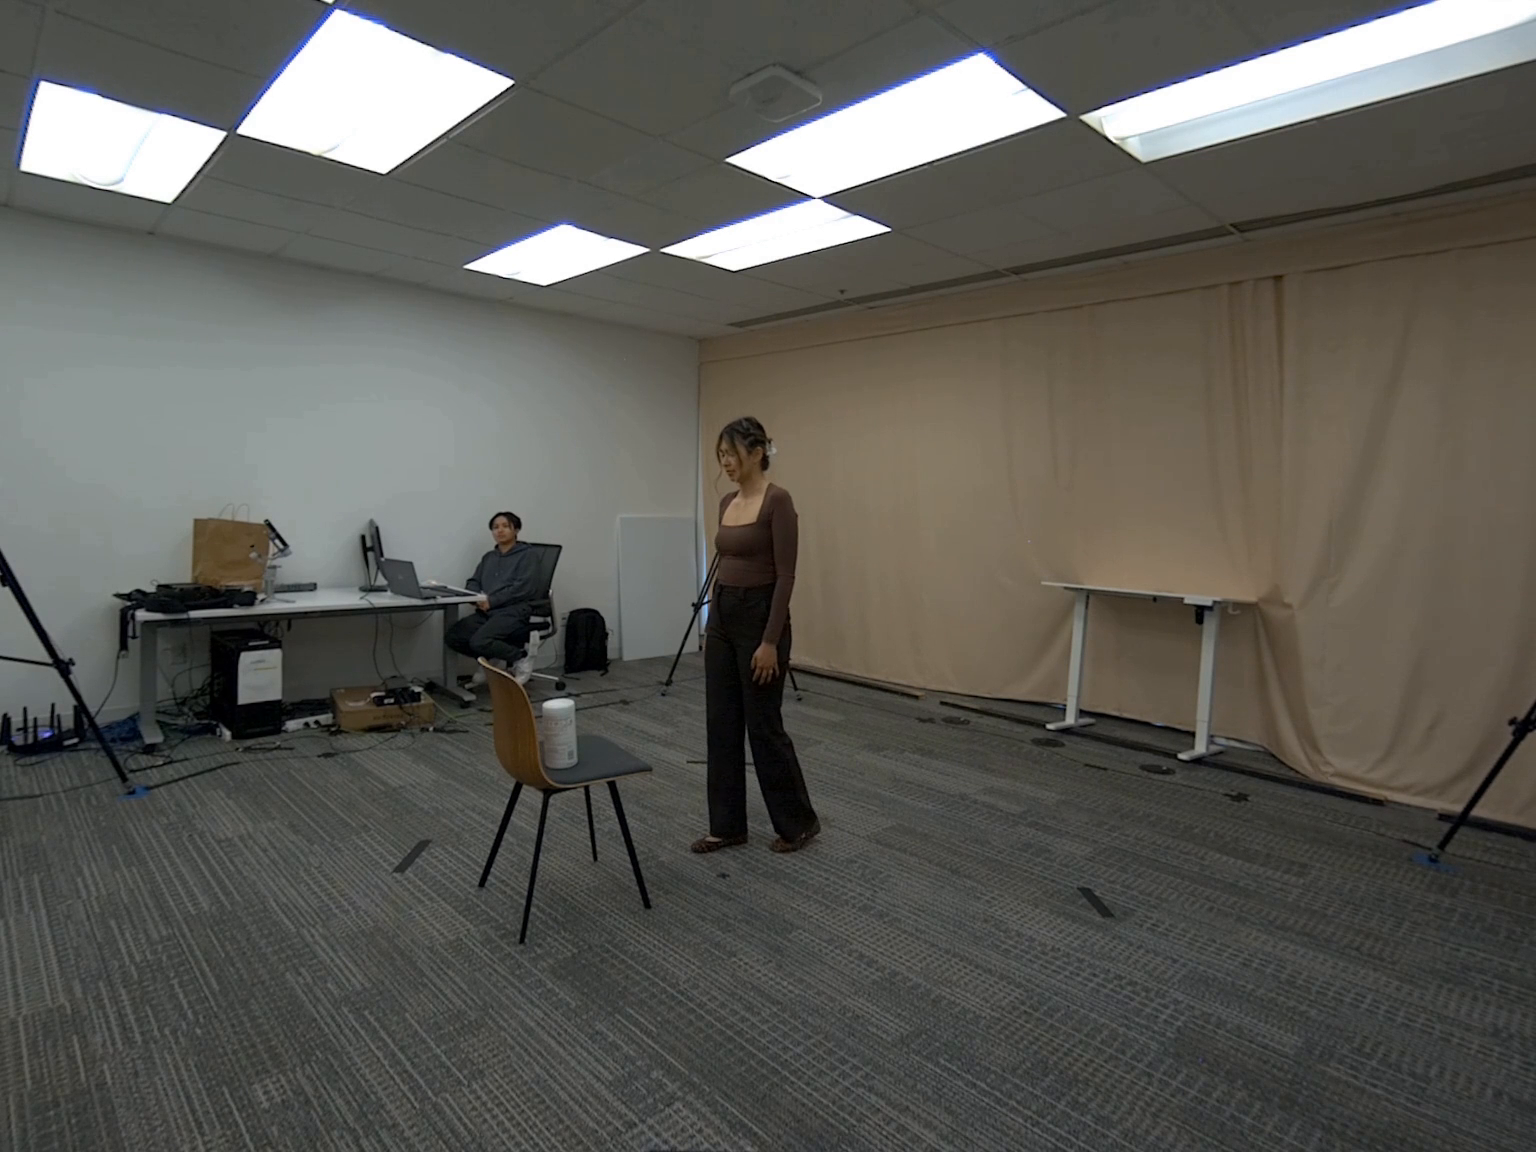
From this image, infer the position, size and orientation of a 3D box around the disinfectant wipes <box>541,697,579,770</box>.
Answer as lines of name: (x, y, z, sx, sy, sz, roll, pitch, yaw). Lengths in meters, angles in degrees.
disinfectant wipes: (-0.720, 0.543, 2.851, 0.118, 0.216, 0.118, -2, 6, -1)
